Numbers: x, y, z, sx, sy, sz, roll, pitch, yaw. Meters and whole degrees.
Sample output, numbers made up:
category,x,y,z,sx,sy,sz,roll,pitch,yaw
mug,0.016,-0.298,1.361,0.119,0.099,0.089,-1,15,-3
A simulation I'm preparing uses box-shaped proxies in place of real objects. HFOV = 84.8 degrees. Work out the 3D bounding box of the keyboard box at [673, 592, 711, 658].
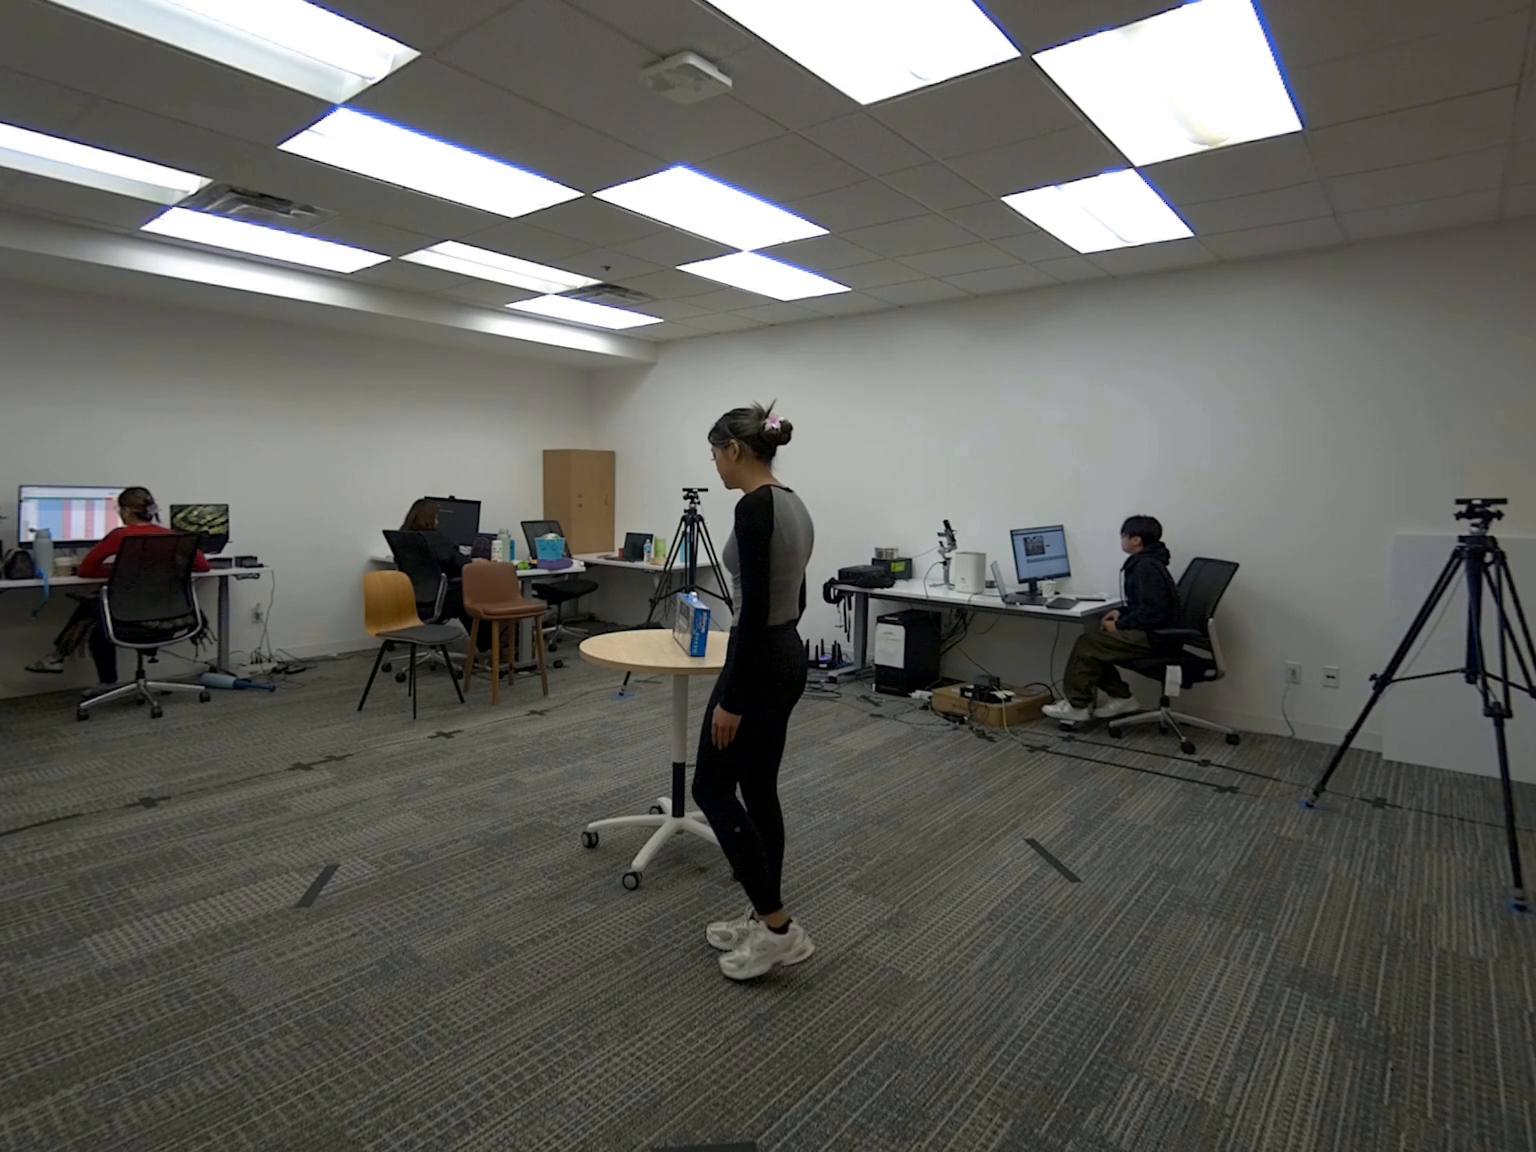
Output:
category,x,y,z,sx,sy,sz,roll,pitch,yaw
keyboard box,-0.307,0.176,3.224,0.058,0.175,0.444,4,5,-14
